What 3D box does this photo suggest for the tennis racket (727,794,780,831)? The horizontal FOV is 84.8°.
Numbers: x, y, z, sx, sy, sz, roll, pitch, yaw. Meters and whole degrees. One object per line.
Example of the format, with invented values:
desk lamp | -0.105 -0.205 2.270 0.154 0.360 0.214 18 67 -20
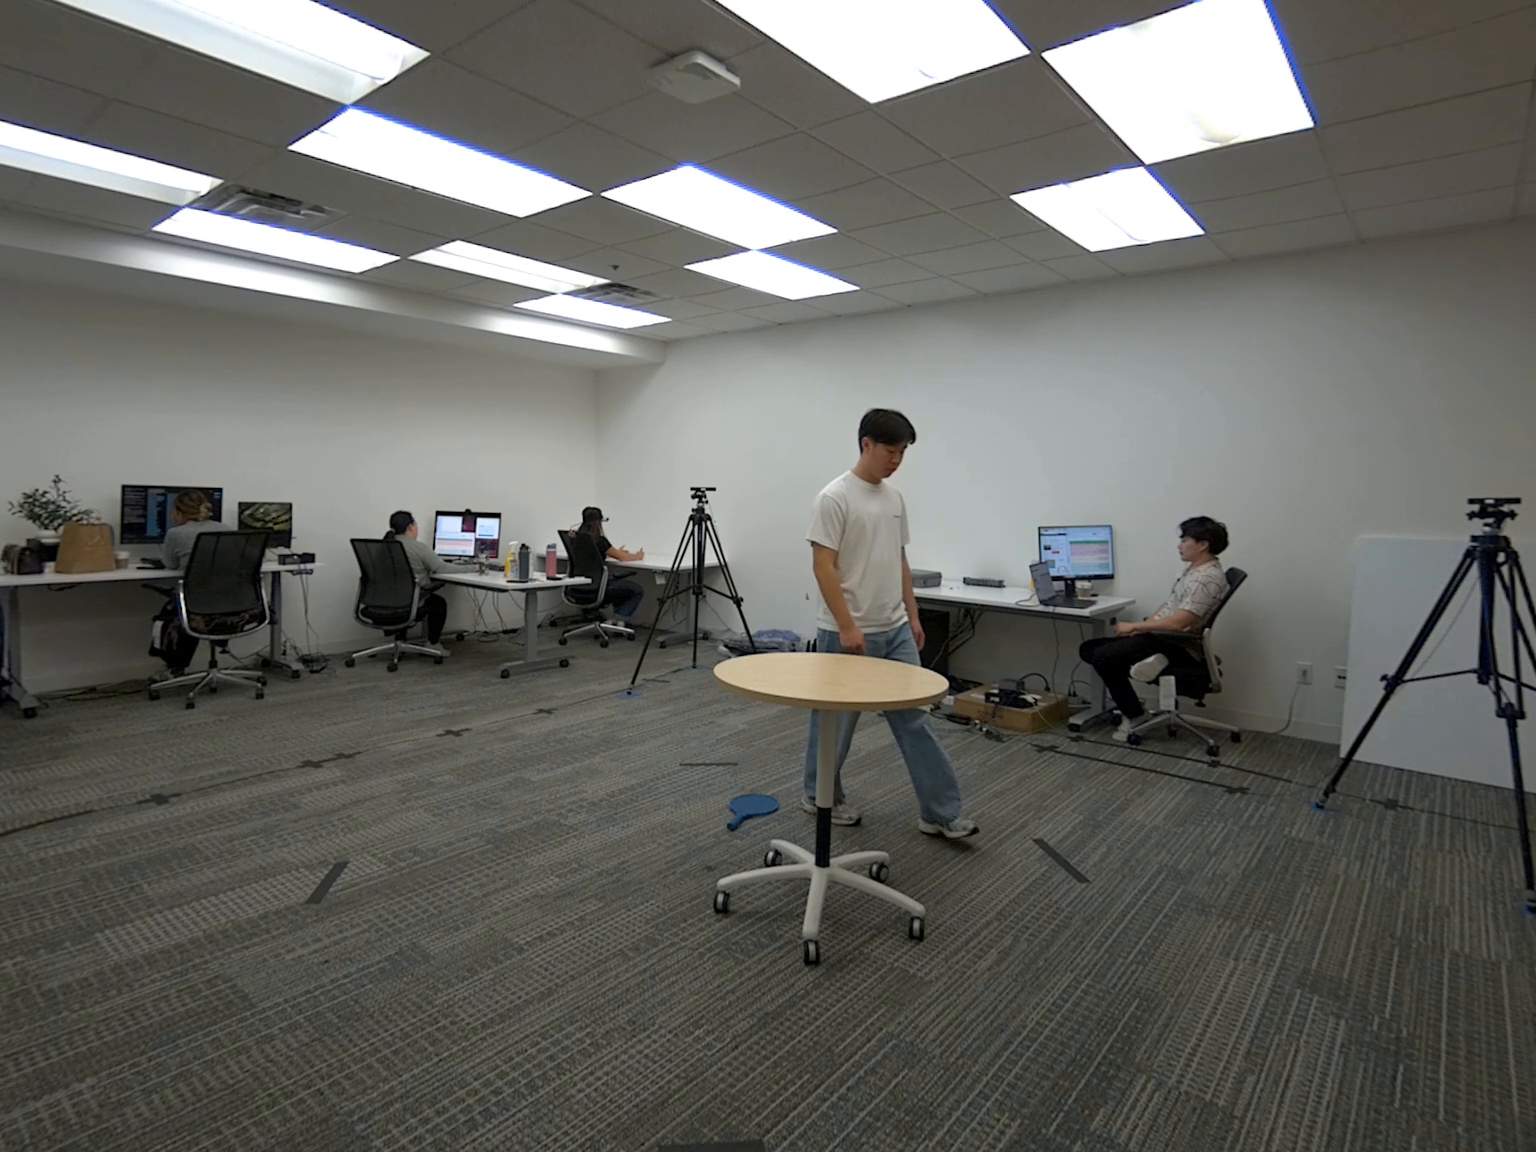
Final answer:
tennis racket | -0.096 0.999 3.654 0.218 0.032 0.424 2 3 20
